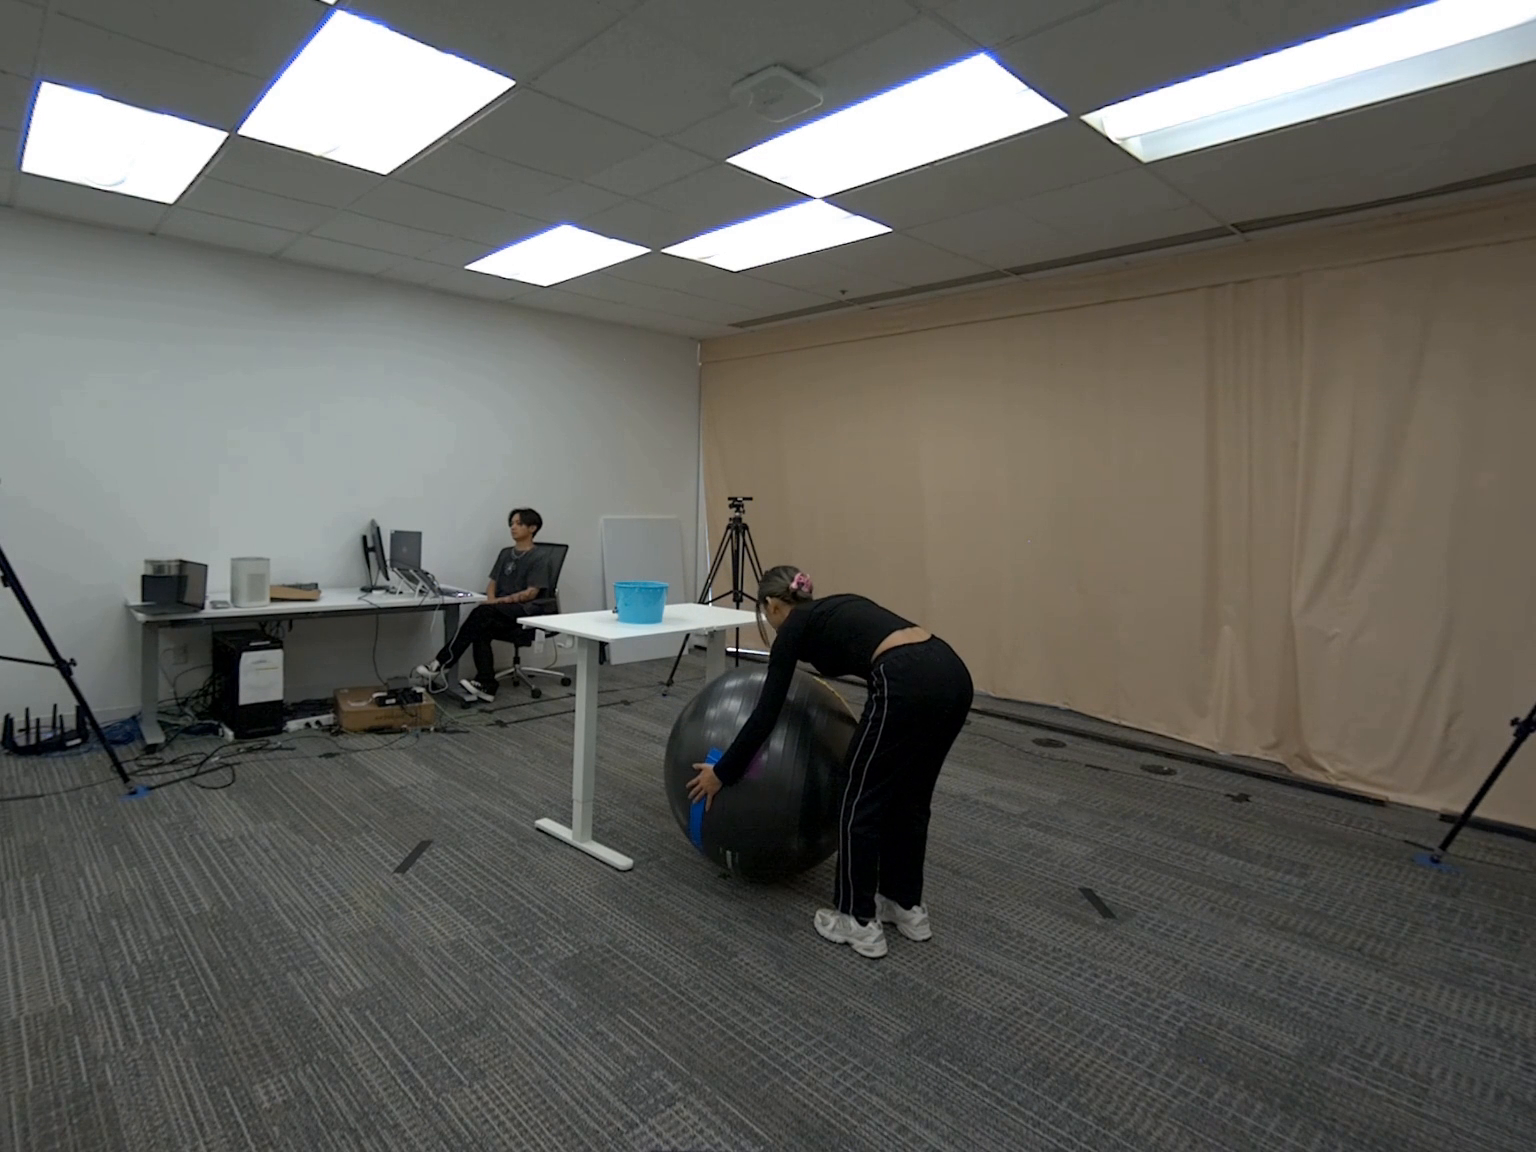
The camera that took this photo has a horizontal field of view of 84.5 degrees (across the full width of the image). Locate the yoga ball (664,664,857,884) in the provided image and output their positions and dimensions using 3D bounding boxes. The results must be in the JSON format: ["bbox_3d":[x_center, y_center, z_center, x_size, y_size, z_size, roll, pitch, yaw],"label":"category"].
[{"bbox_3d":[-0.011,0.712,3.107,0.757,0.756,0.760,1,4,-1],"label":"yoga ball"}]
